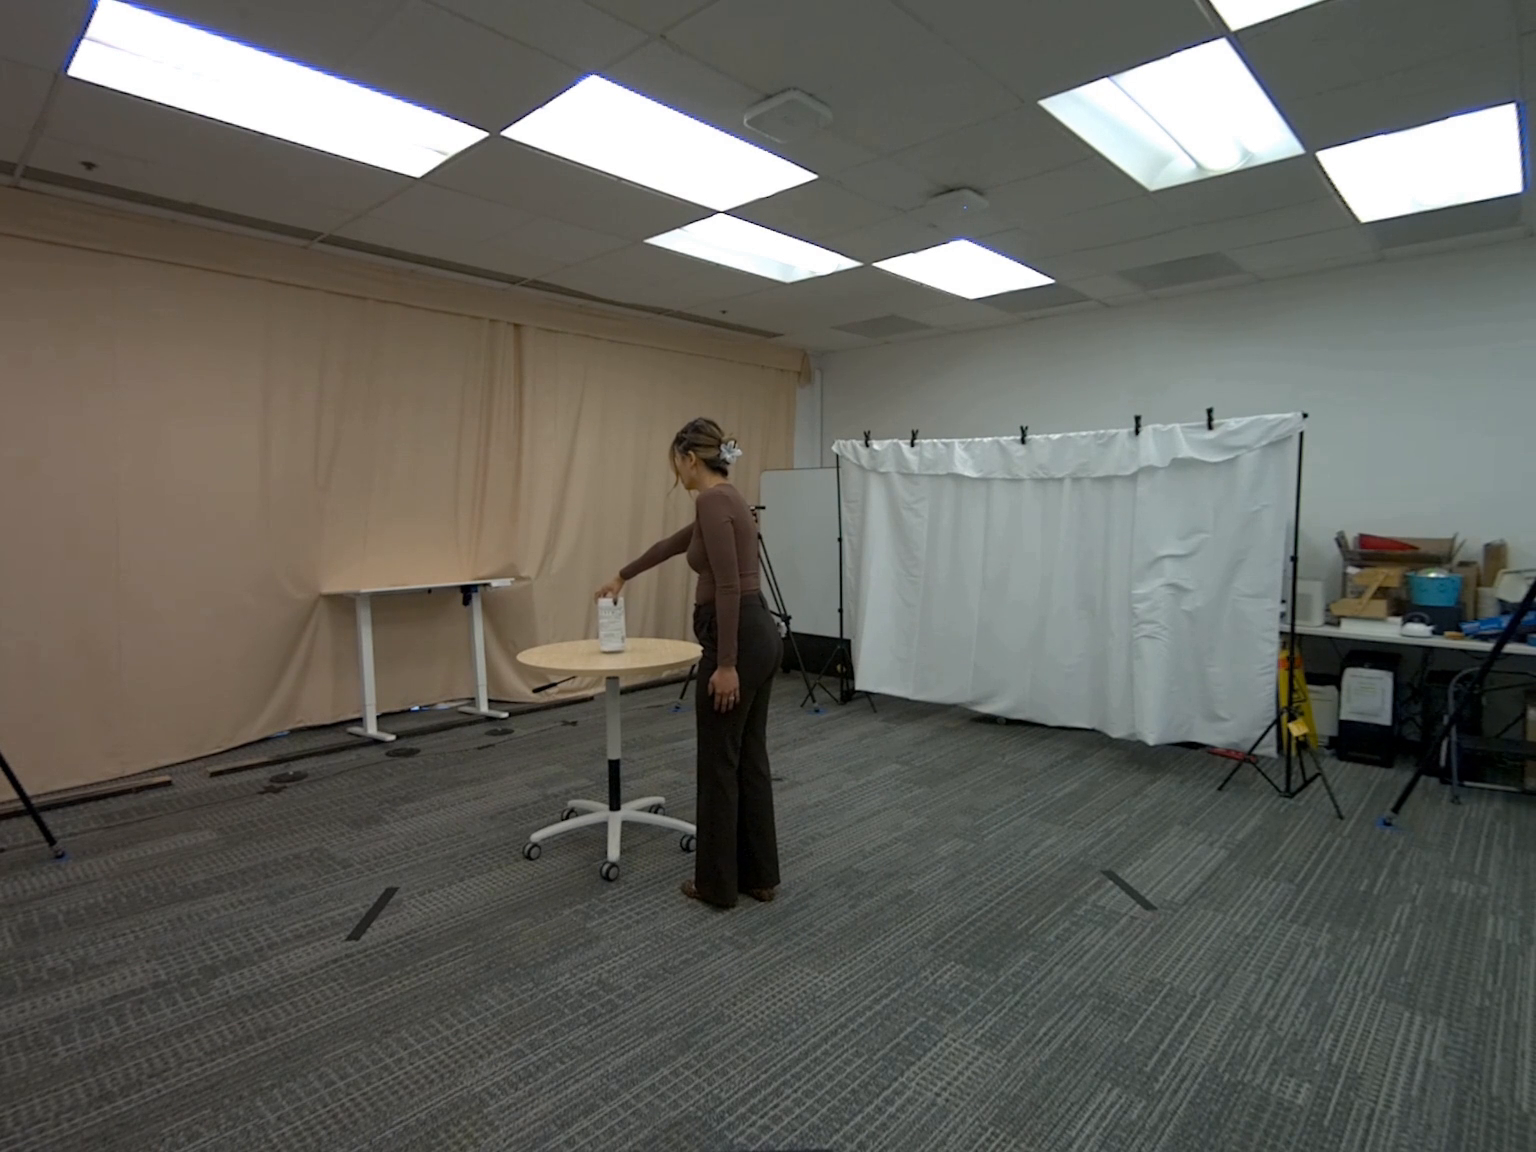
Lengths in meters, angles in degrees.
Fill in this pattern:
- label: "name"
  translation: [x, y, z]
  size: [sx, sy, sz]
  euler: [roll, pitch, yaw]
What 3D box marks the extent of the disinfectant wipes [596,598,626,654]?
- label: "disinfectant wipes"
  translation: [-0.639, 0.195, 3.456]
  size: [0.118, 0.217, 0.118]
  euler: [-1, 4, -2]
